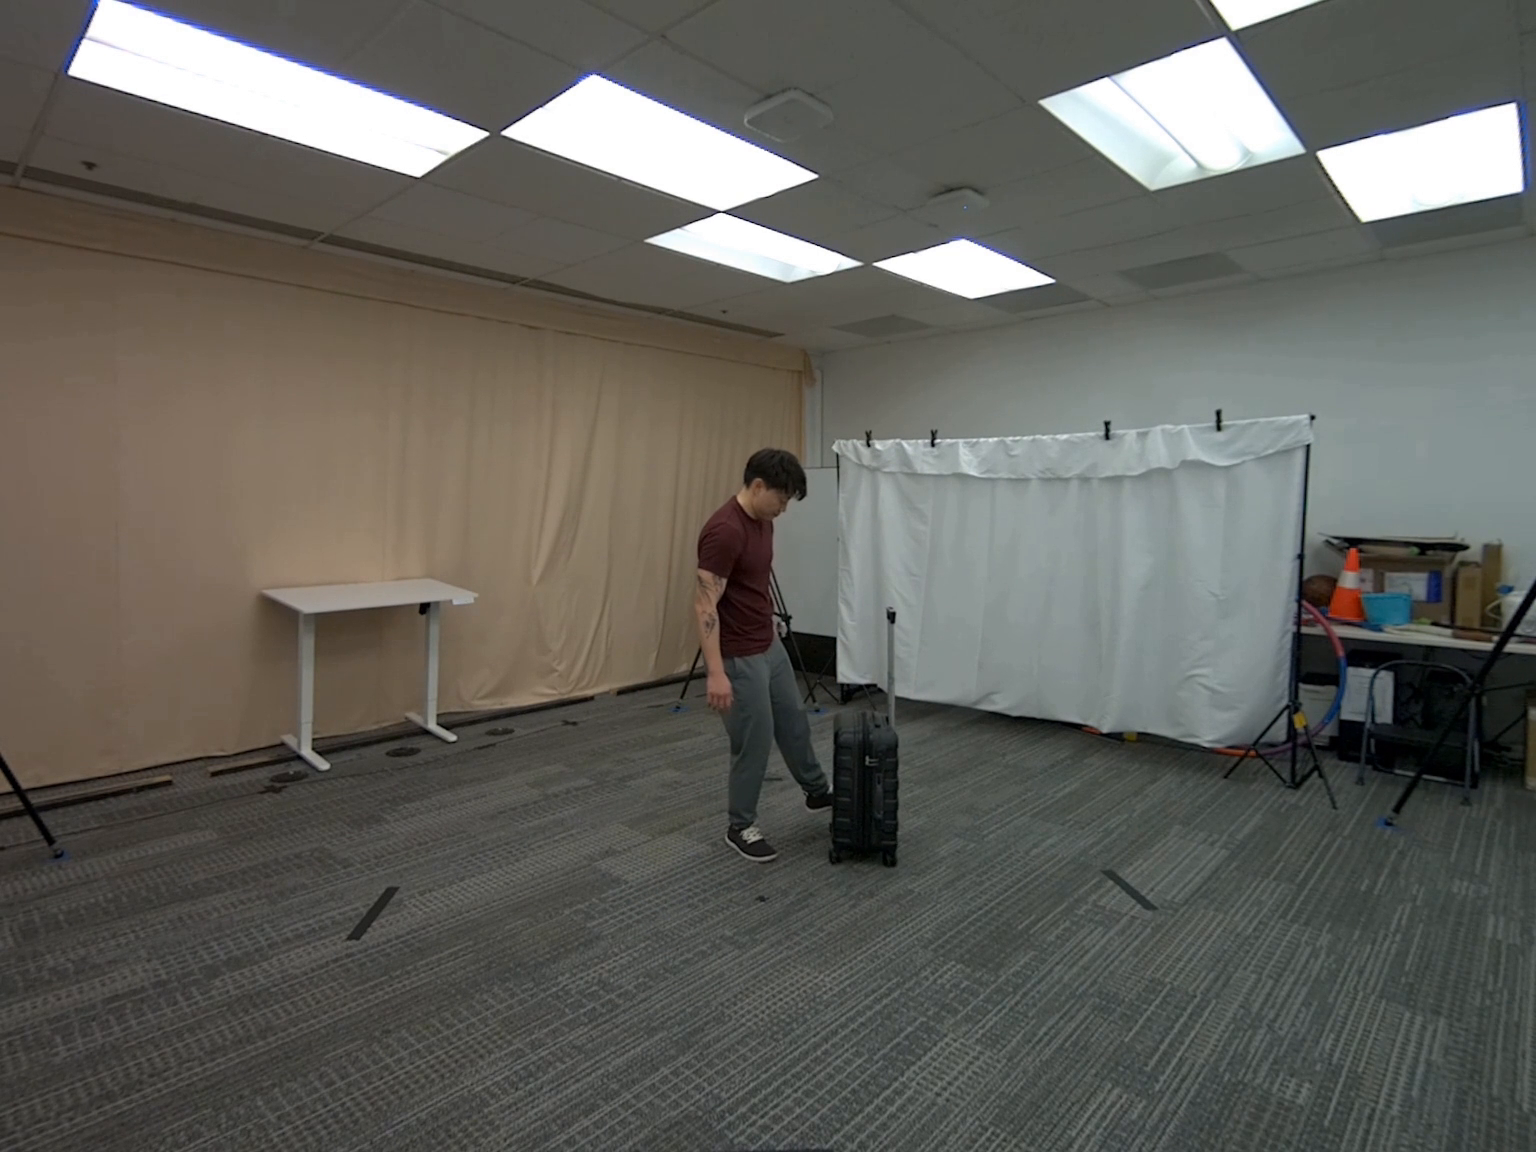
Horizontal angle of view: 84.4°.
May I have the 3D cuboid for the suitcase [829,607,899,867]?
[{"bbox_3d":[0.384,0.633,3.366,0.259,0.977,0.382,1,3,4],"label":"suitcase"}]
